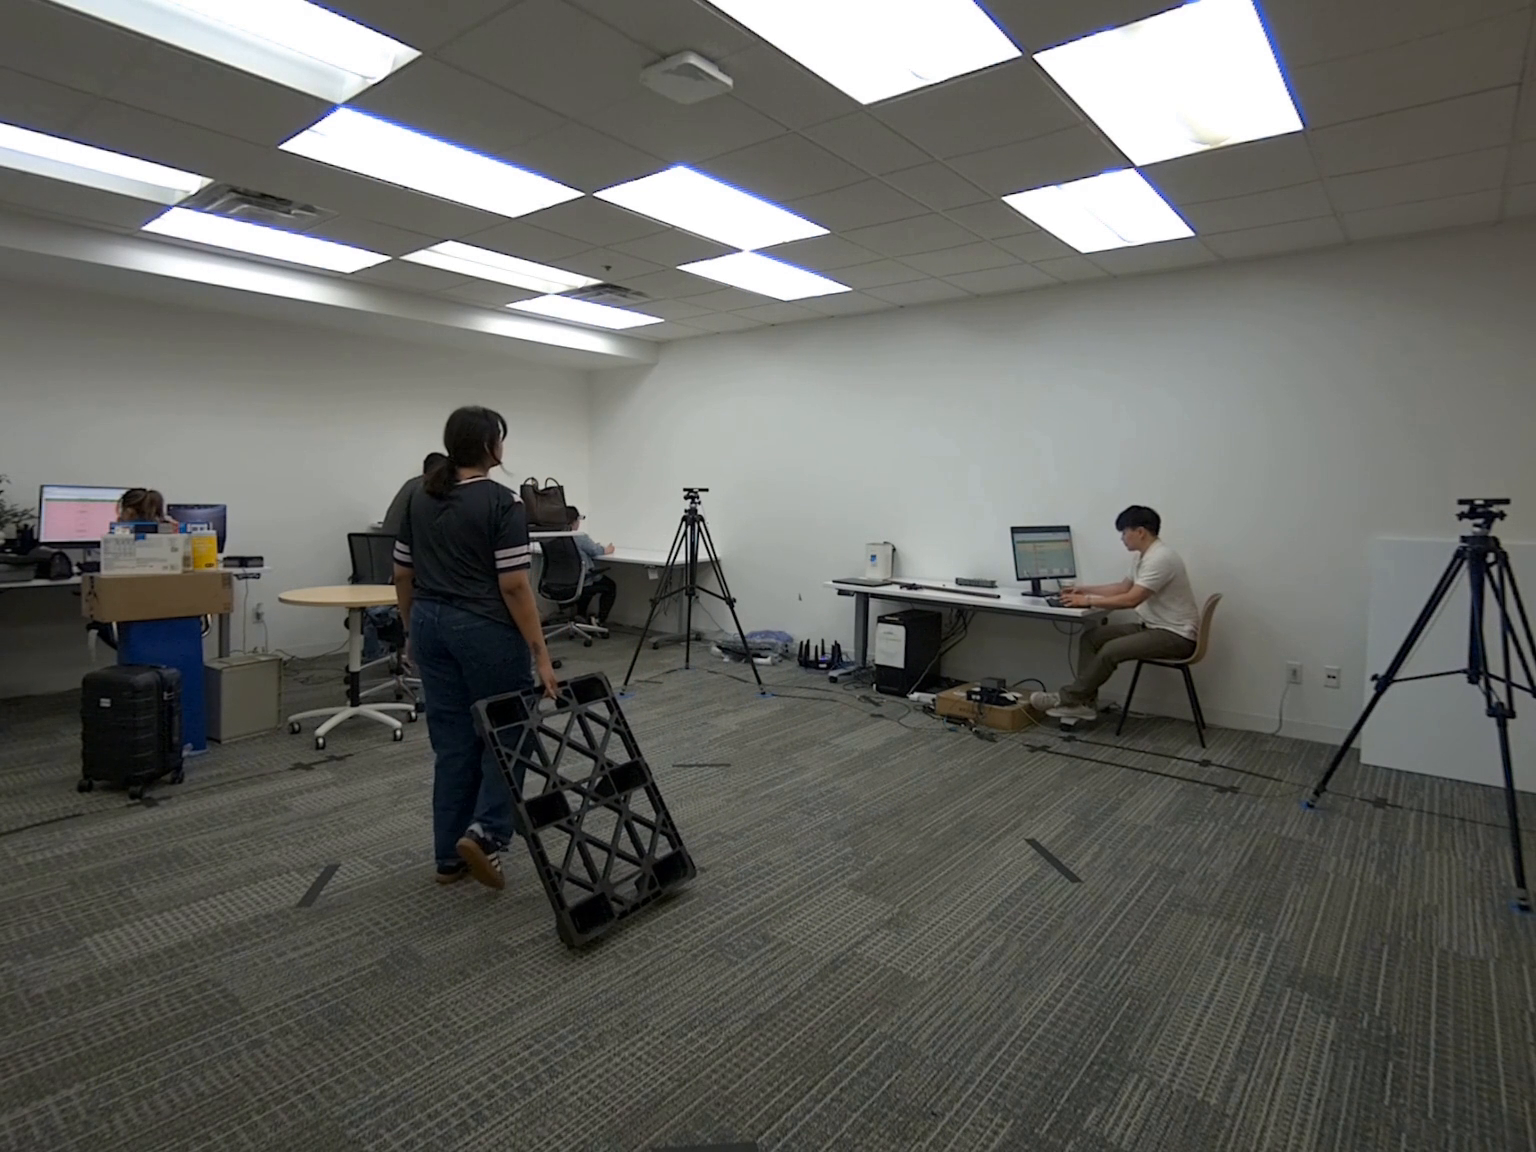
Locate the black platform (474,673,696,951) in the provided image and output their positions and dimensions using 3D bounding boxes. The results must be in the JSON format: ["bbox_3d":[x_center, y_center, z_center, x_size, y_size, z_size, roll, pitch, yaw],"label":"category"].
[{"bbox_3d":[-0.637,0.747,2.843,0.144,0.823,0.589,-38,-17,31],"label":"black platform"}]
